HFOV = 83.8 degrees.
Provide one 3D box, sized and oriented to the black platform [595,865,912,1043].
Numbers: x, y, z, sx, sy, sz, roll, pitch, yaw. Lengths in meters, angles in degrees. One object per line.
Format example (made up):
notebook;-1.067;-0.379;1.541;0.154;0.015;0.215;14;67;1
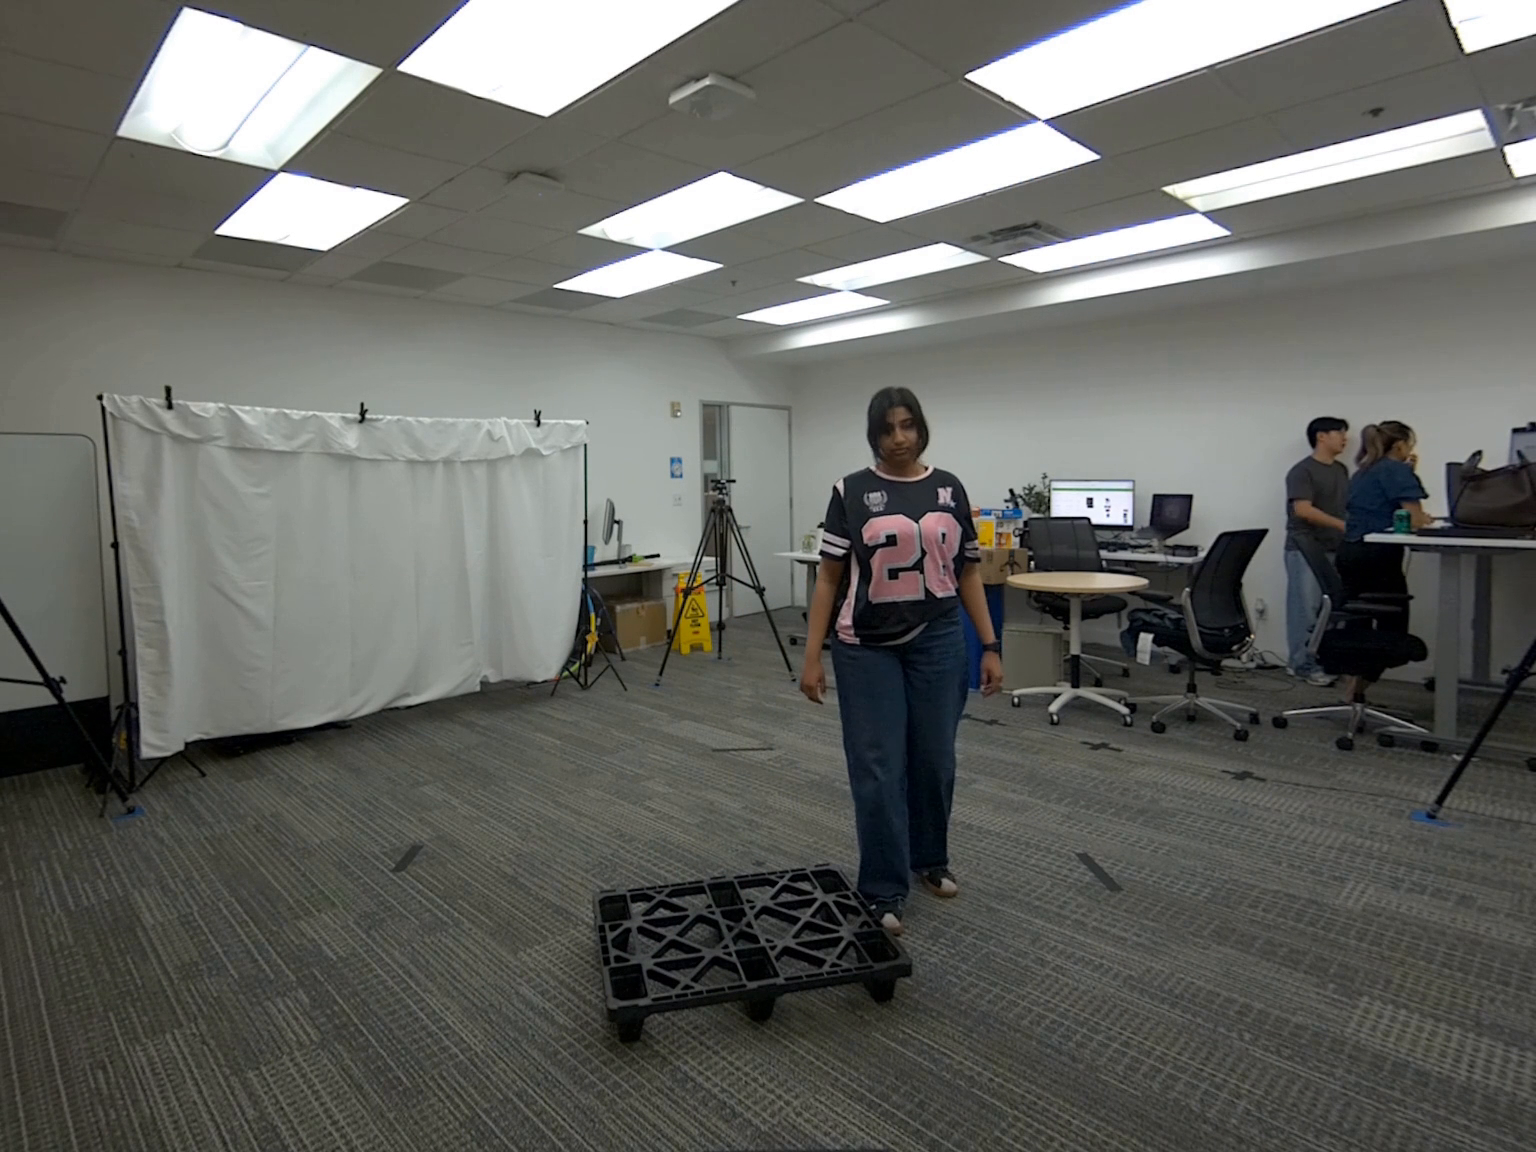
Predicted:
black platform;-0.080;1.059;2.436;0.796;0.142;0.615;-2;7;-13
